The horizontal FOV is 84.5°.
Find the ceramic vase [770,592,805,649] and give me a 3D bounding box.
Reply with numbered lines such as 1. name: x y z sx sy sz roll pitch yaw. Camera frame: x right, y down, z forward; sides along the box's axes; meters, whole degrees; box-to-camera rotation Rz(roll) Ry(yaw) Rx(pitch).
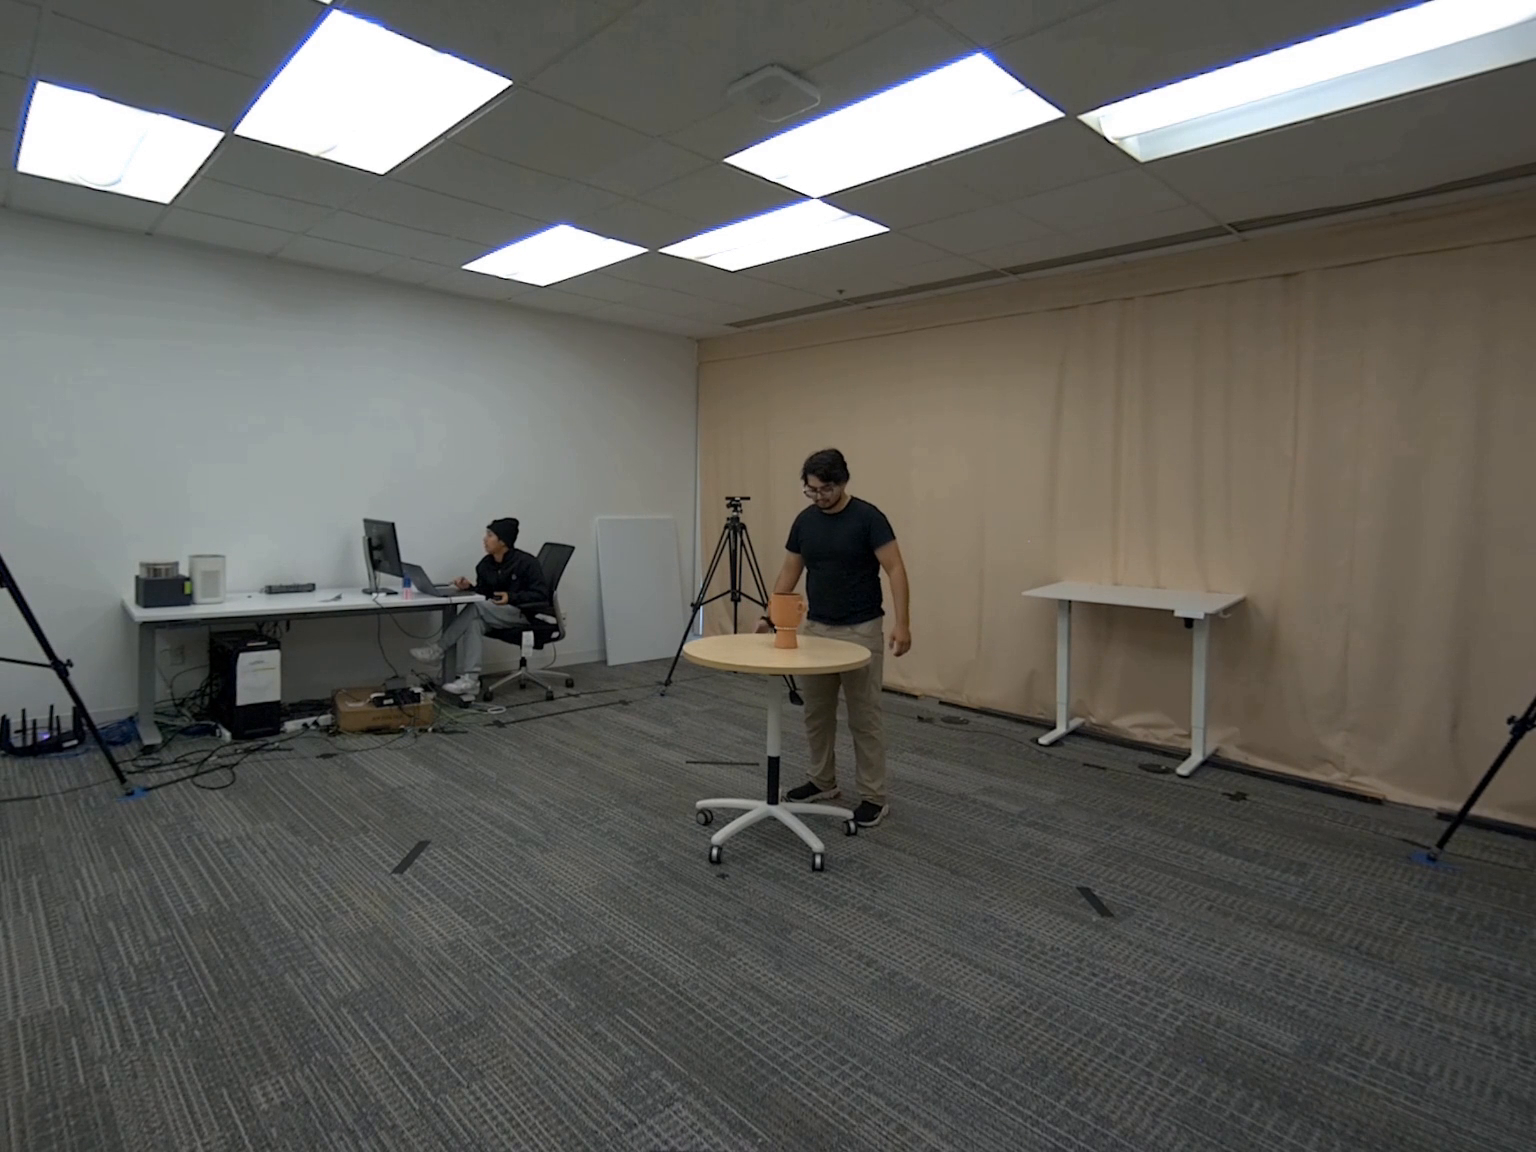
1. ceramic vase: 0.071 0.187 3.497 0.133 0.219 0.160 2 2 -11
